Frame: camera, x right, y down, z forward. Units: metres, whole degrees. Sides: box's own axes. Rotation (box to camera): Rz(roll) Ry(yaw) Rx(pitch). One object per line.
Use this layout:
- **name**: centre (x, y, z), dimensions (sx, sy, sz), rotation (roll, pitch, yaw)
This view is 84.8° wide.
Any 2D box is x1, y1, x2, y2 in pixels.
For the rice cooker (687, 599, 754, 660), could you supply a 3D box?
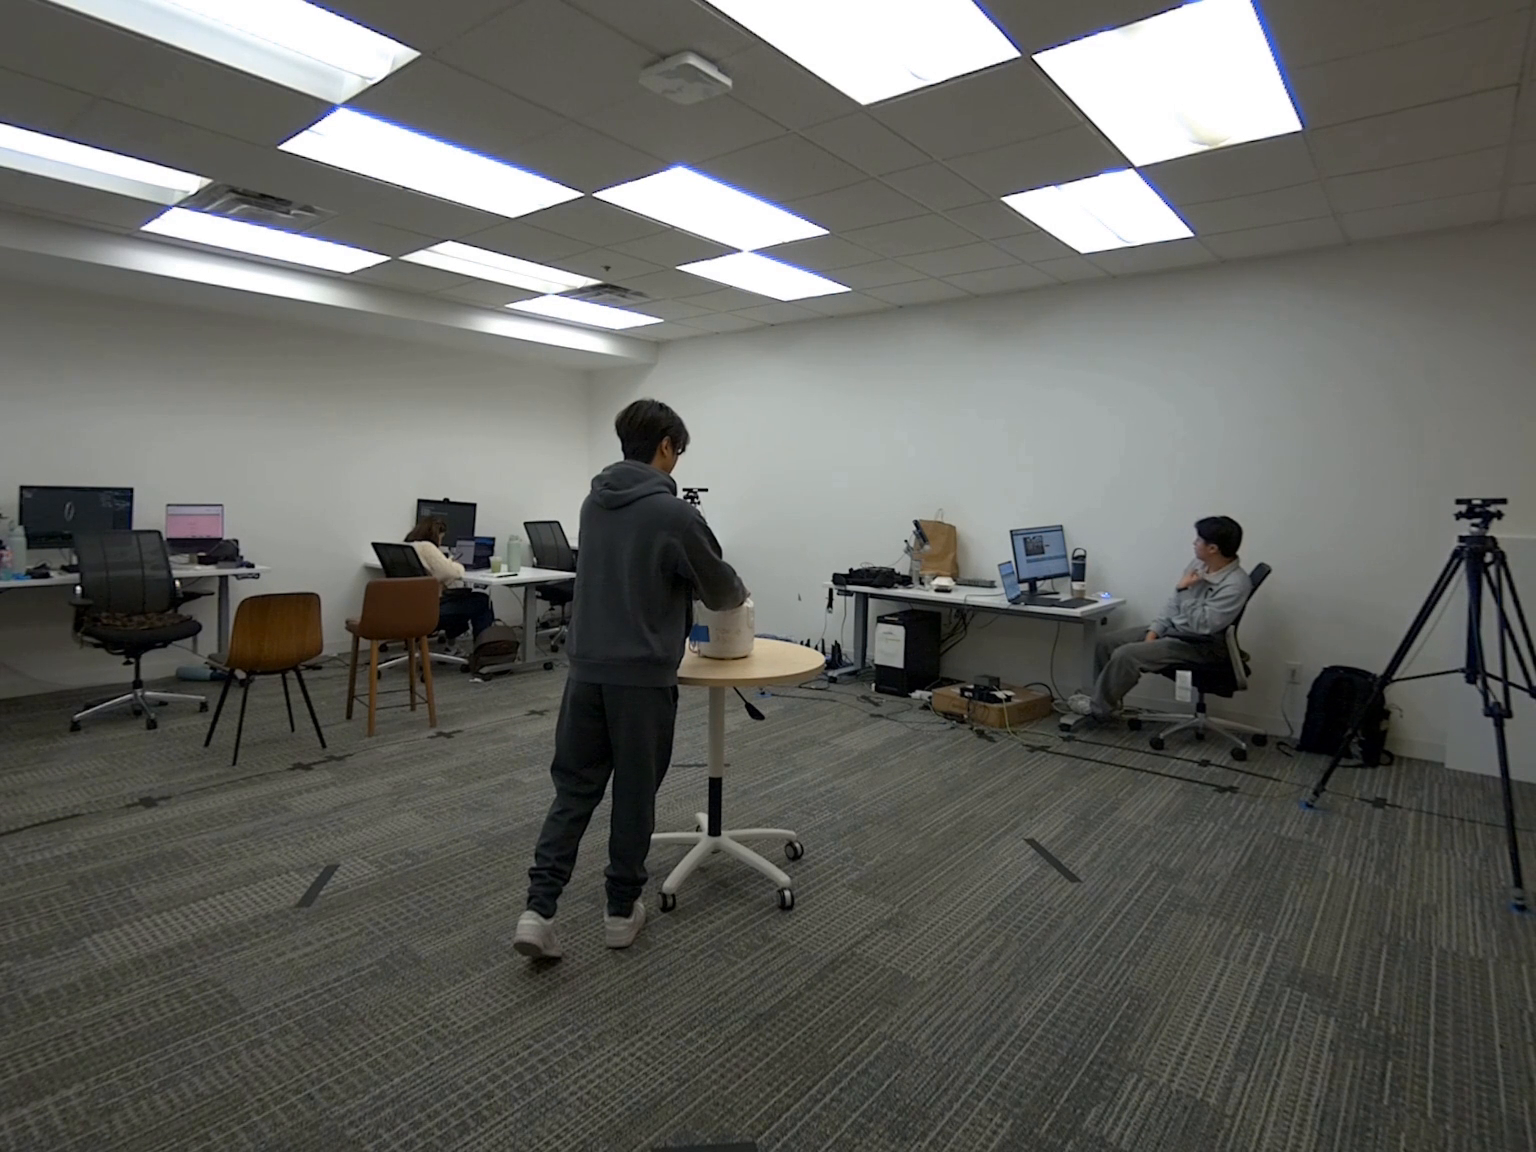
- **rice cooker**: centre (-0.163, 0.162, 3.039), dimensions (0.227, 0.231, 0.212), rotation (4, 8, 28)
